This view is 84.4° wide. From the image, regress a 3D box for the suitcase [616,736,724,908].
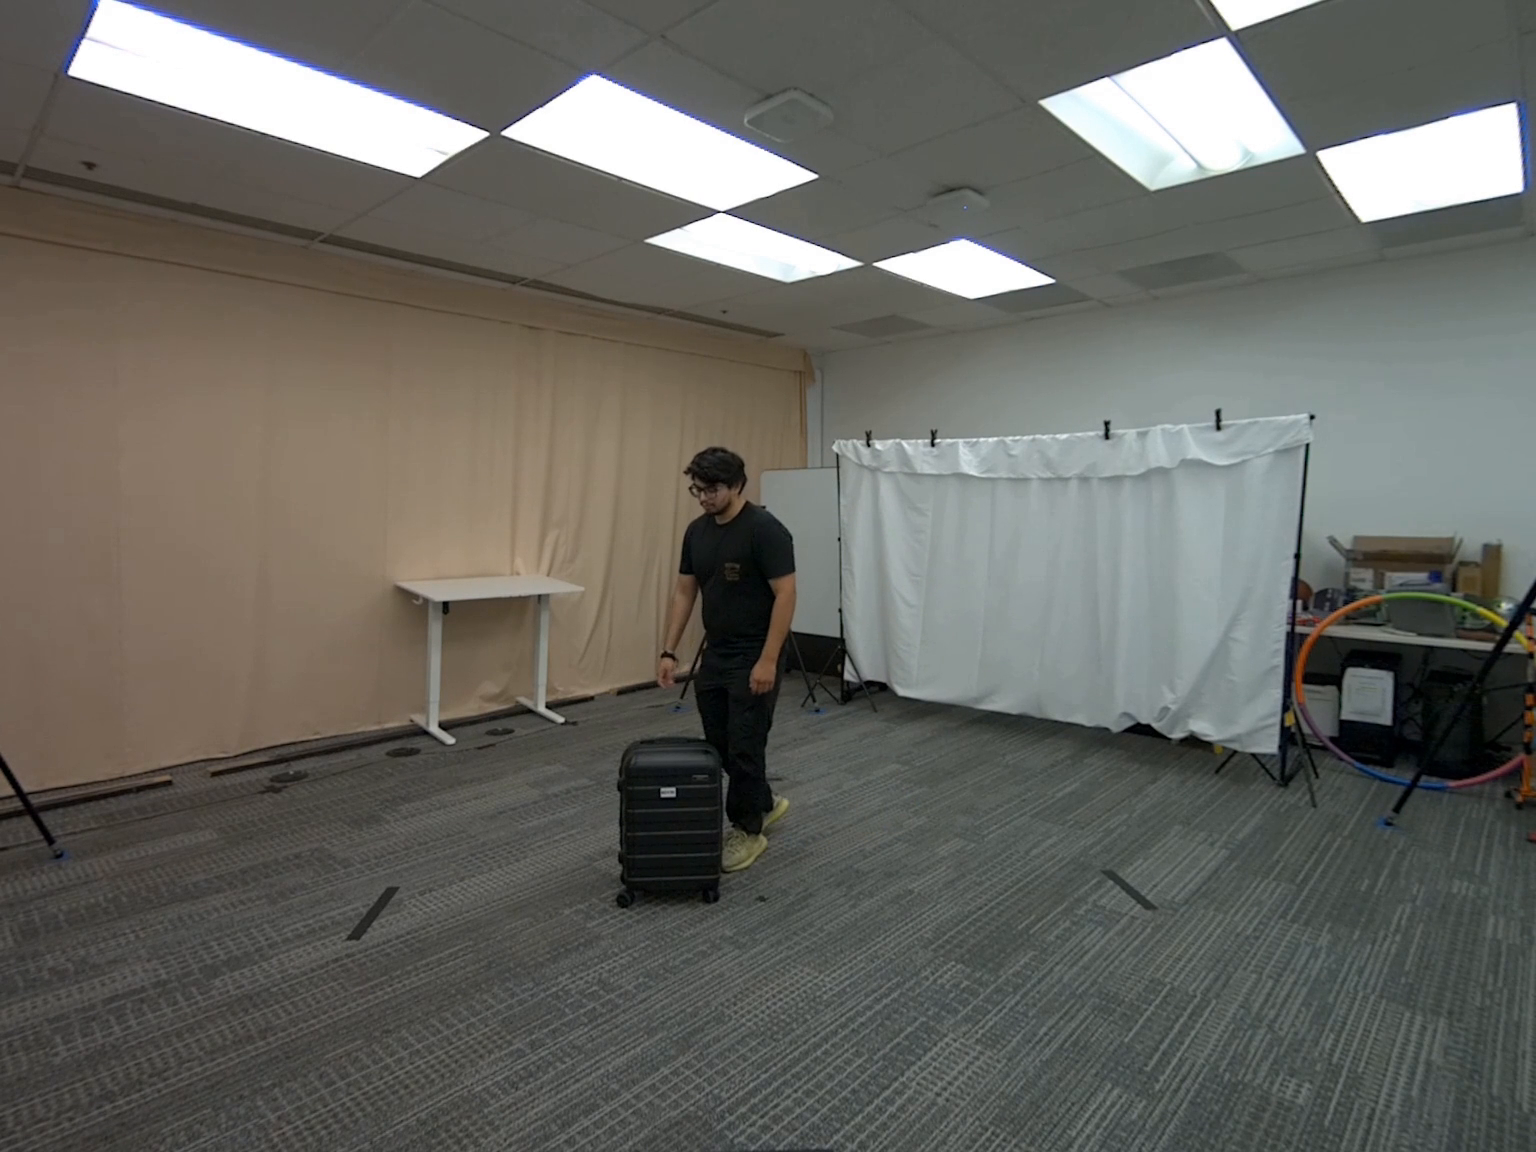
[{"bbox_3d":[-0.349,0.864,3.027,0.373,0.548,0.250,0,3,-6],"label":"suitcase"}]
